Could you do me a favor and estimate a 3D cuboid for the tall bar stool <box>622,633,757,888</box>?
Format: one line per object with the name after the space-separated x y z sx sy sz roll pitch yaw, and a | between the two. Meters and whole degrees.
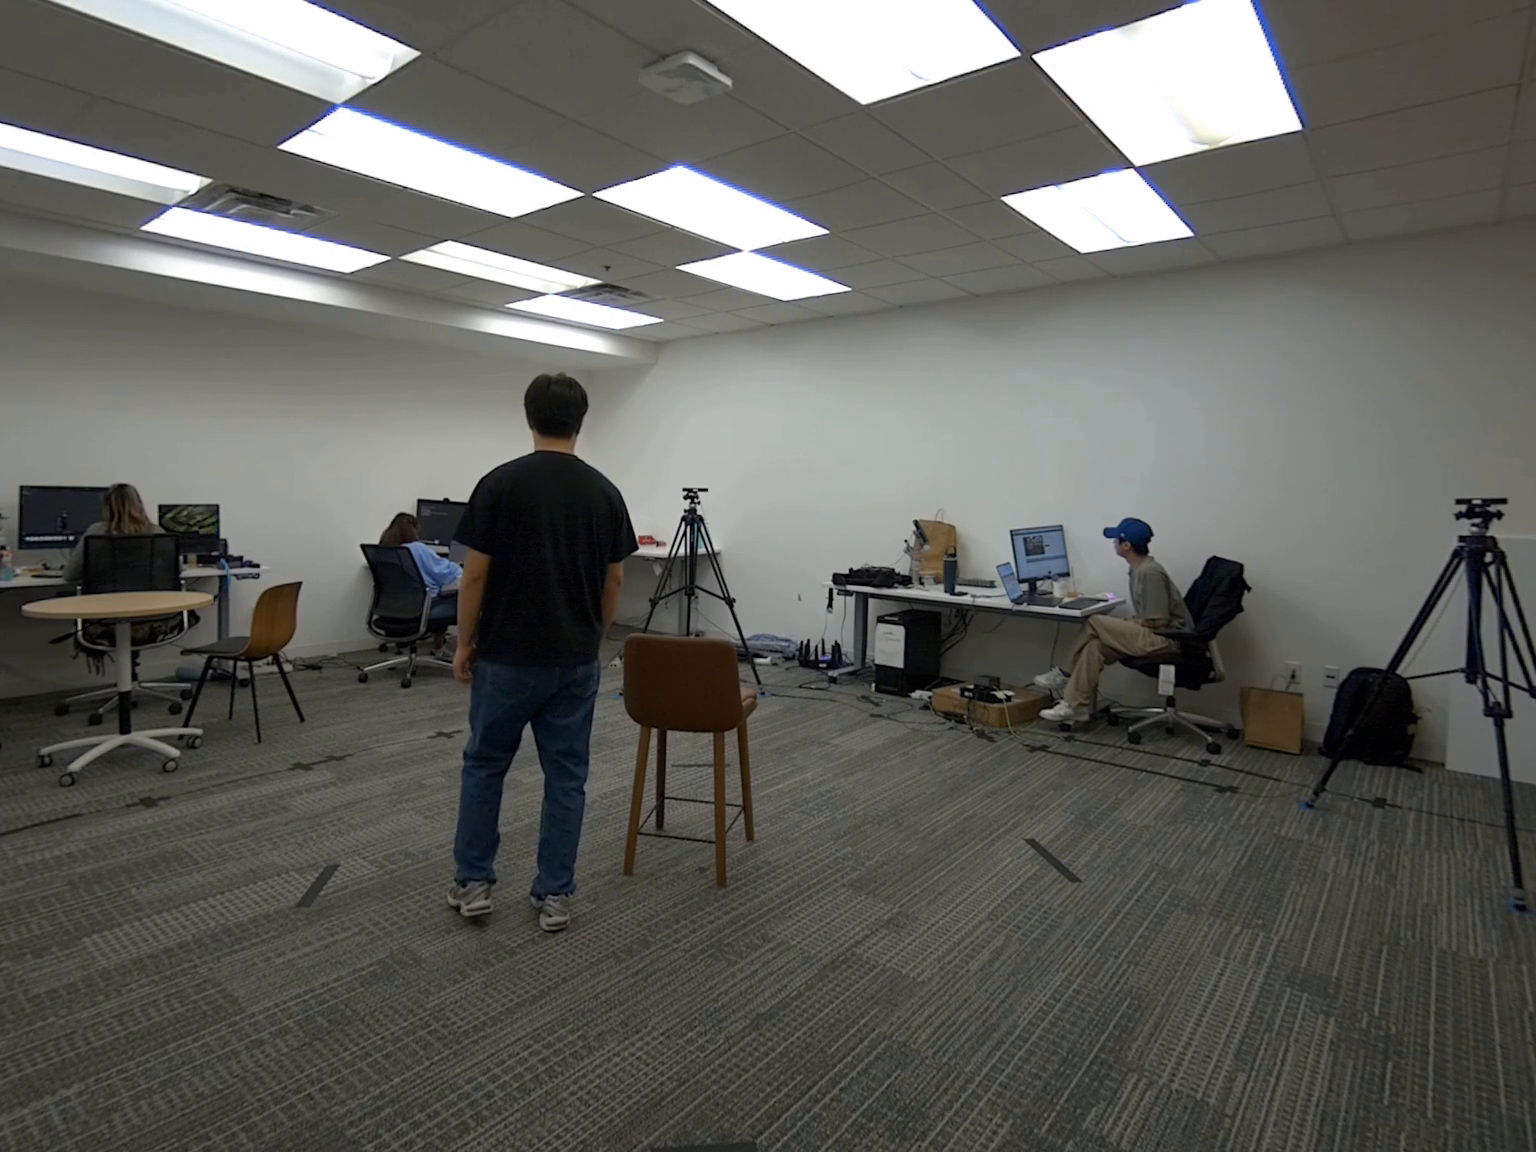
-0.300 0.626 3.199 0.464 0.886 0.462 1 4 14 | tall bar stool
